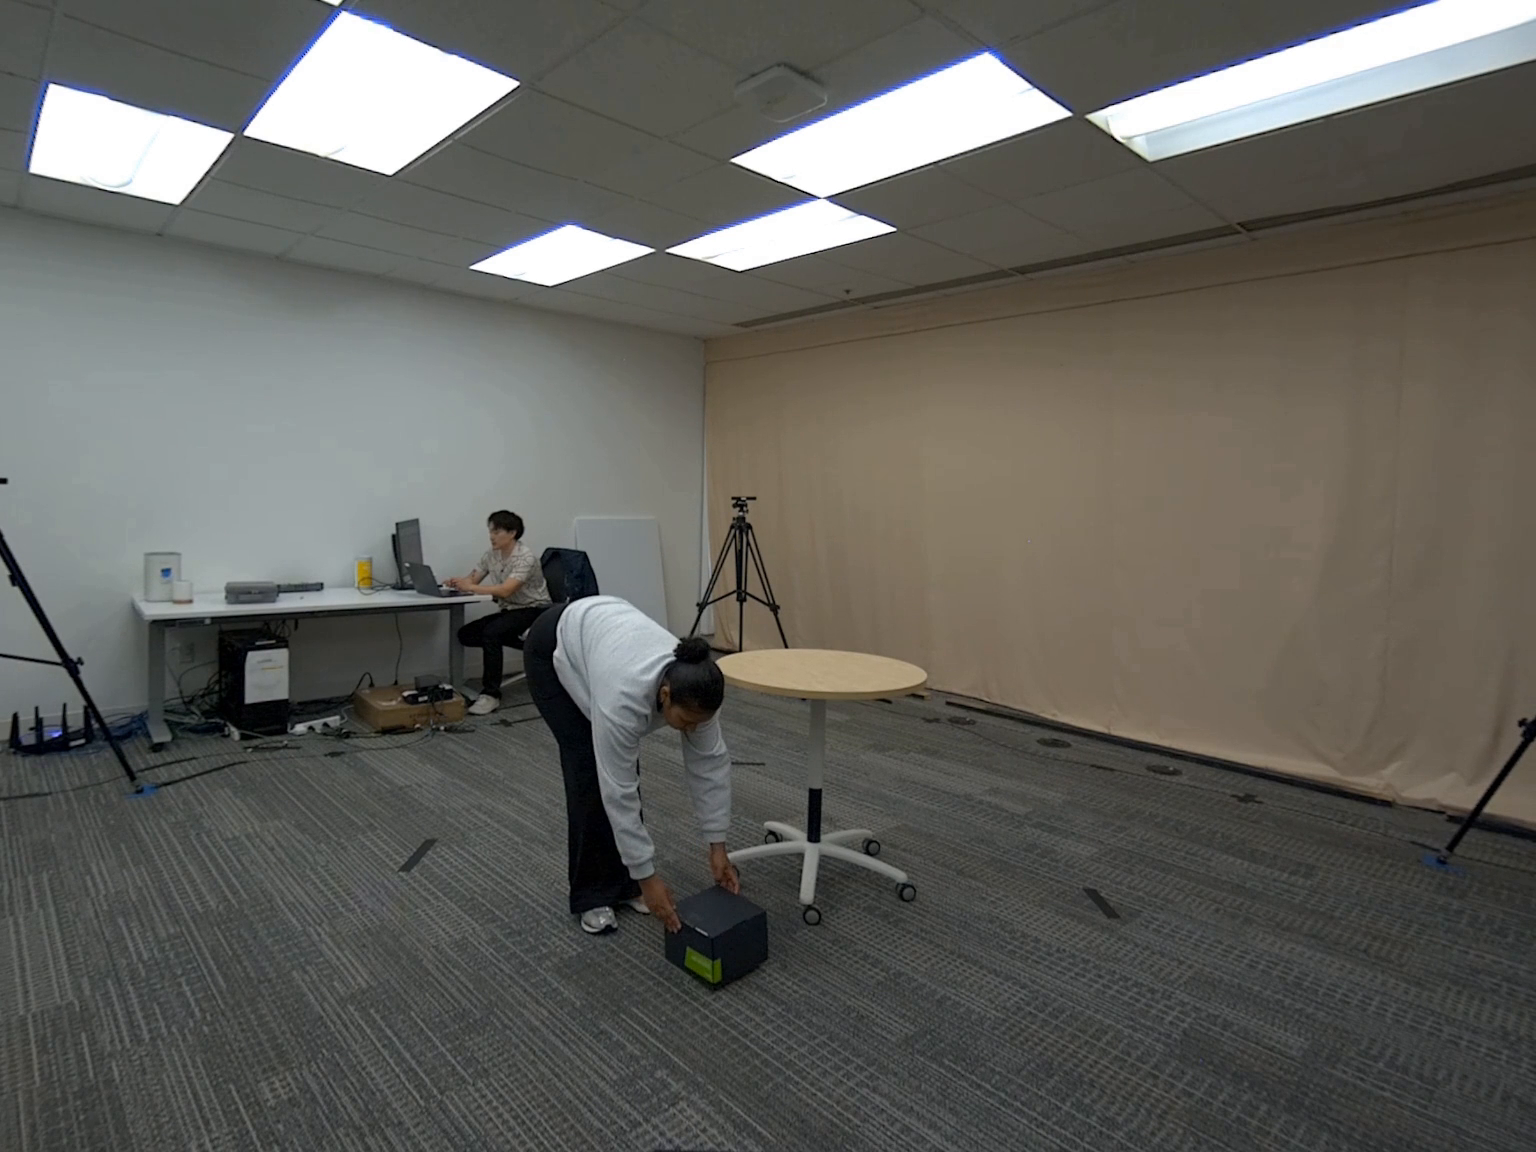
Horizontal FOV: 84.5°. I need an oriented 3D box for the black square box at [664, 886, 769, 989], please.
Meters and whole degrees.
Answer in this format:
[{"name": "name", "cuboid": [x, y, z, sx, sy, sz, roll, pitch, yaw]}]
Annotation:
[{"name": "black square box", "cuboid": [-0.167, 1.067, 2.500, 0.212, 0.155, 0.234, -7, 9, -43]}]
